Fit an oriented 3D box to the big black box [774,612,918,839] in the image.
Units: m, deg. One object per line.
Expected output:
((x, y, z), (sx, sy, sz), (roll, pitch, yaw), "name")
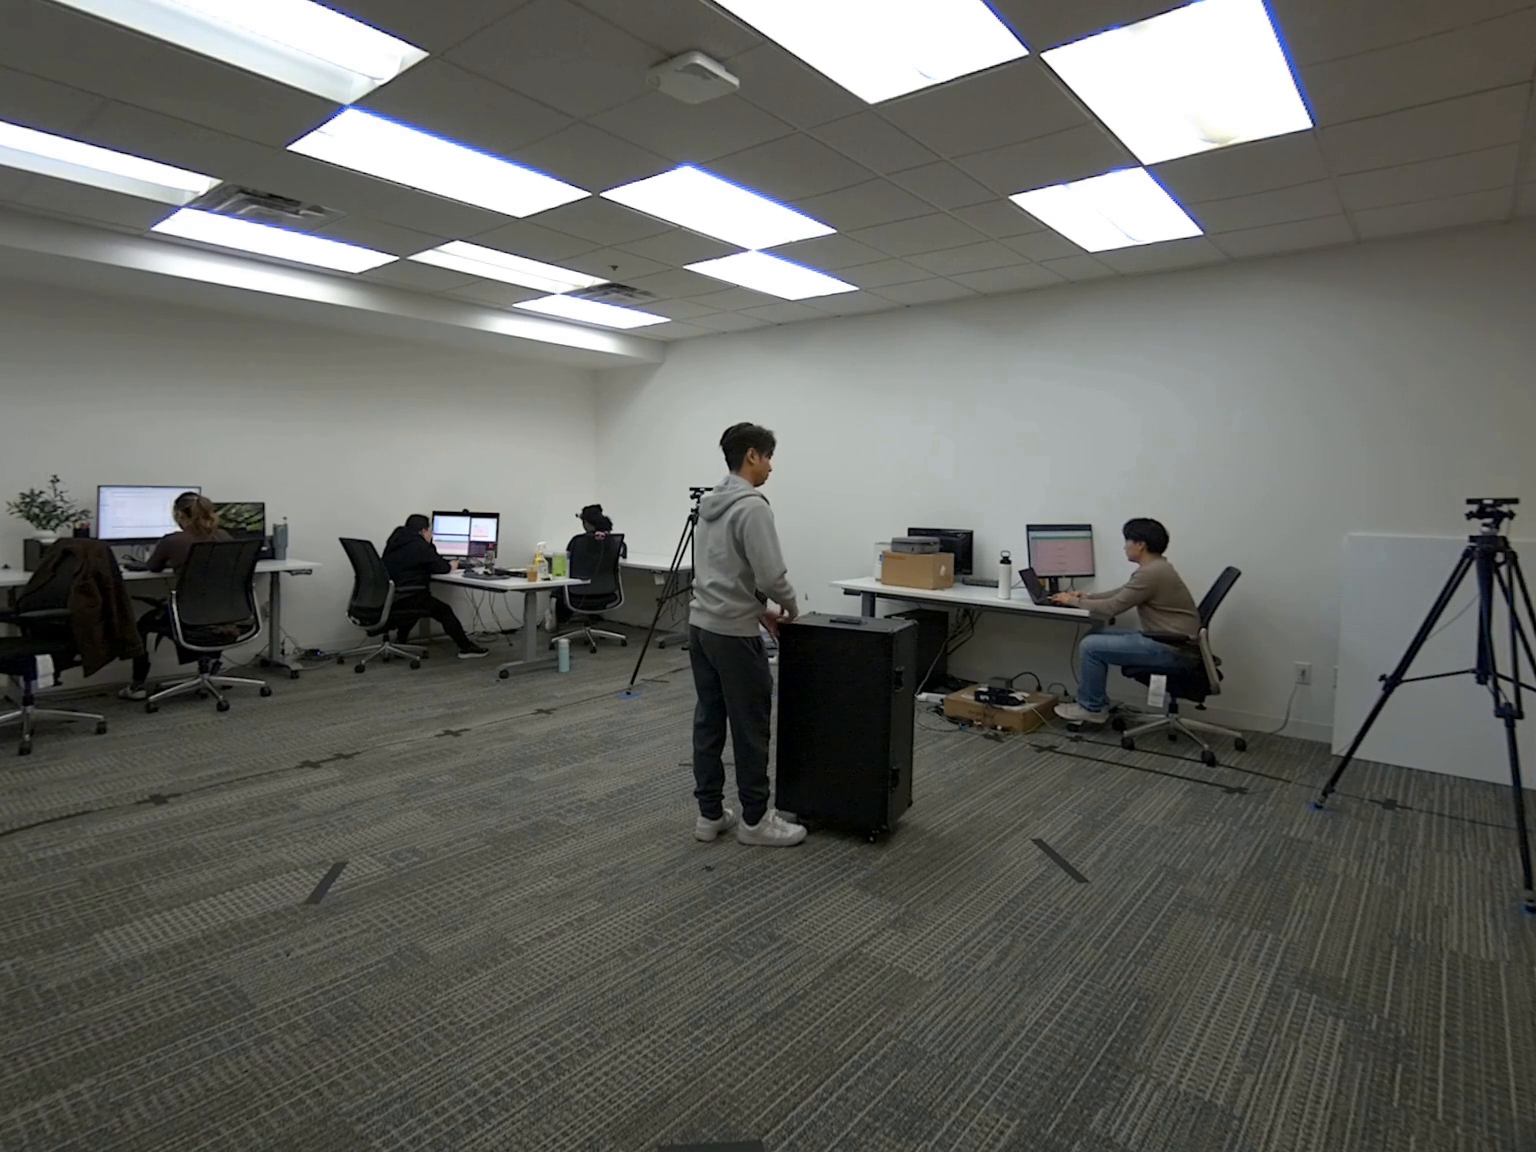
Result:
((0.323, 0.610, 3.553), (0.535, 0.860, 0.387), (3, 3, 25), "big black box")
